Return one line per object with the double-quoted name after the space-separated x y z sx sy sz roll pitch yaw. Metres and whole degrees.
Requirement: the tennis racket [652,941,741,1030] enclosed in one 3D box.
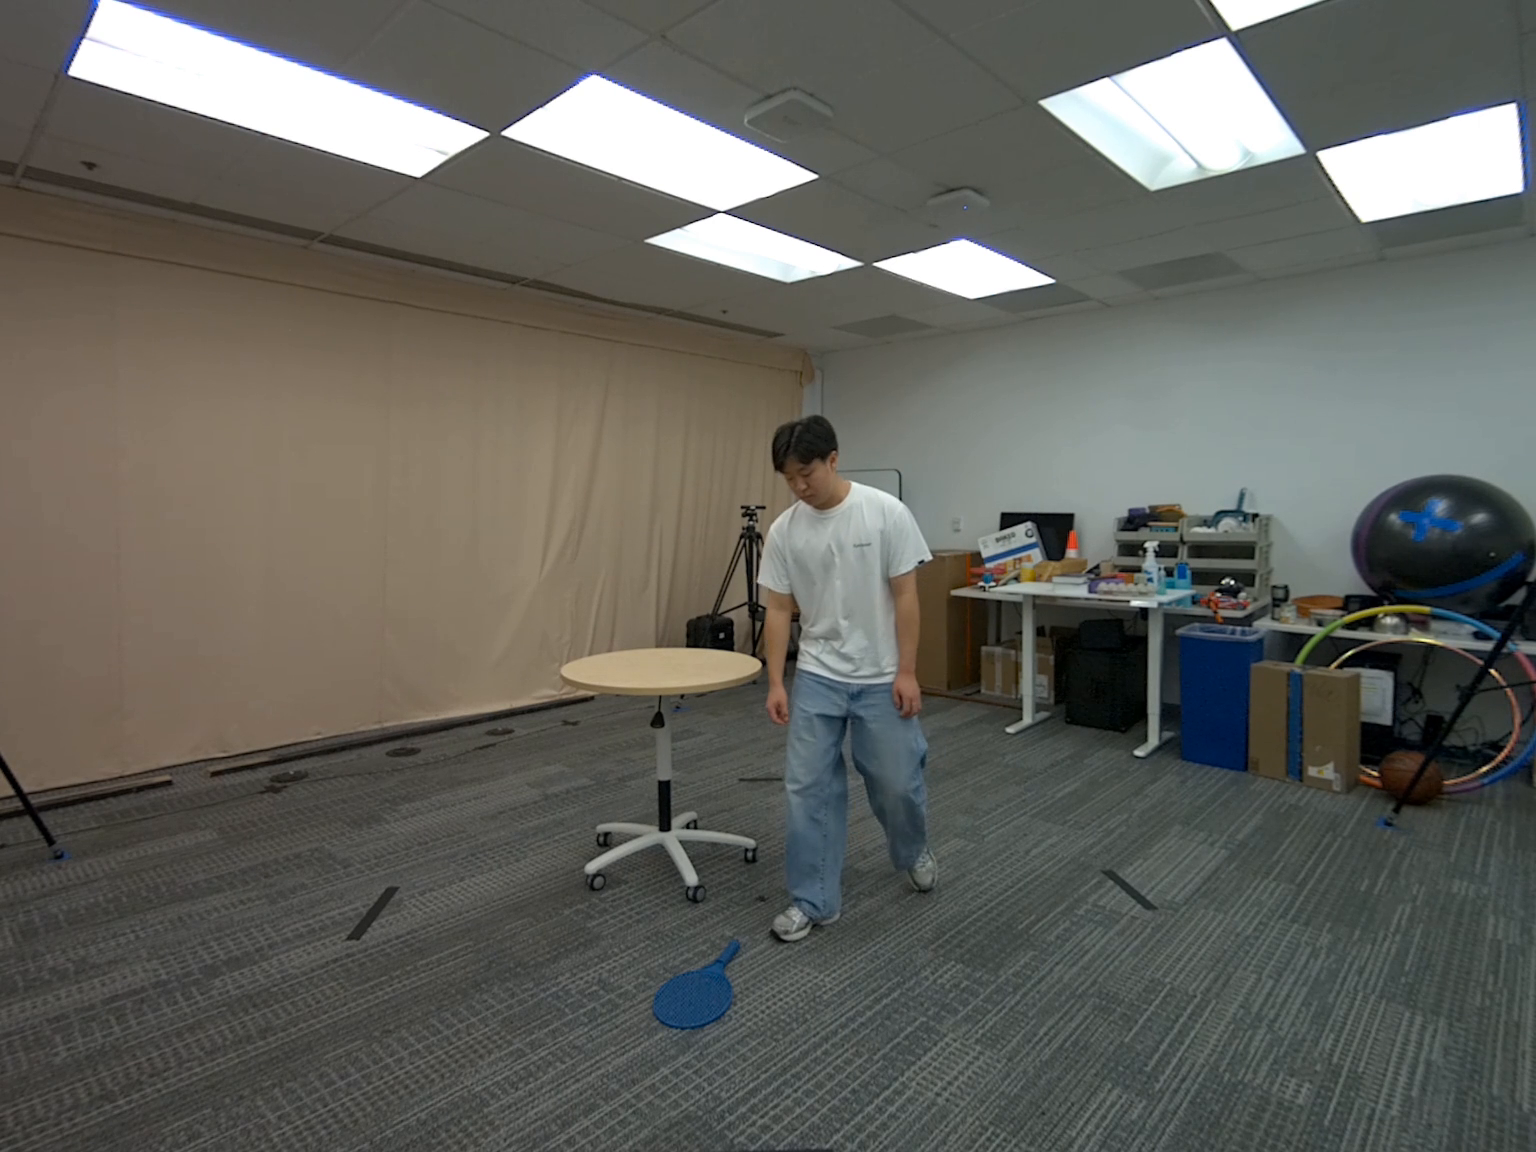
-0.177 1.178 2.440 0.219 0.031 0.424 3 7 24 "tennis racket"
